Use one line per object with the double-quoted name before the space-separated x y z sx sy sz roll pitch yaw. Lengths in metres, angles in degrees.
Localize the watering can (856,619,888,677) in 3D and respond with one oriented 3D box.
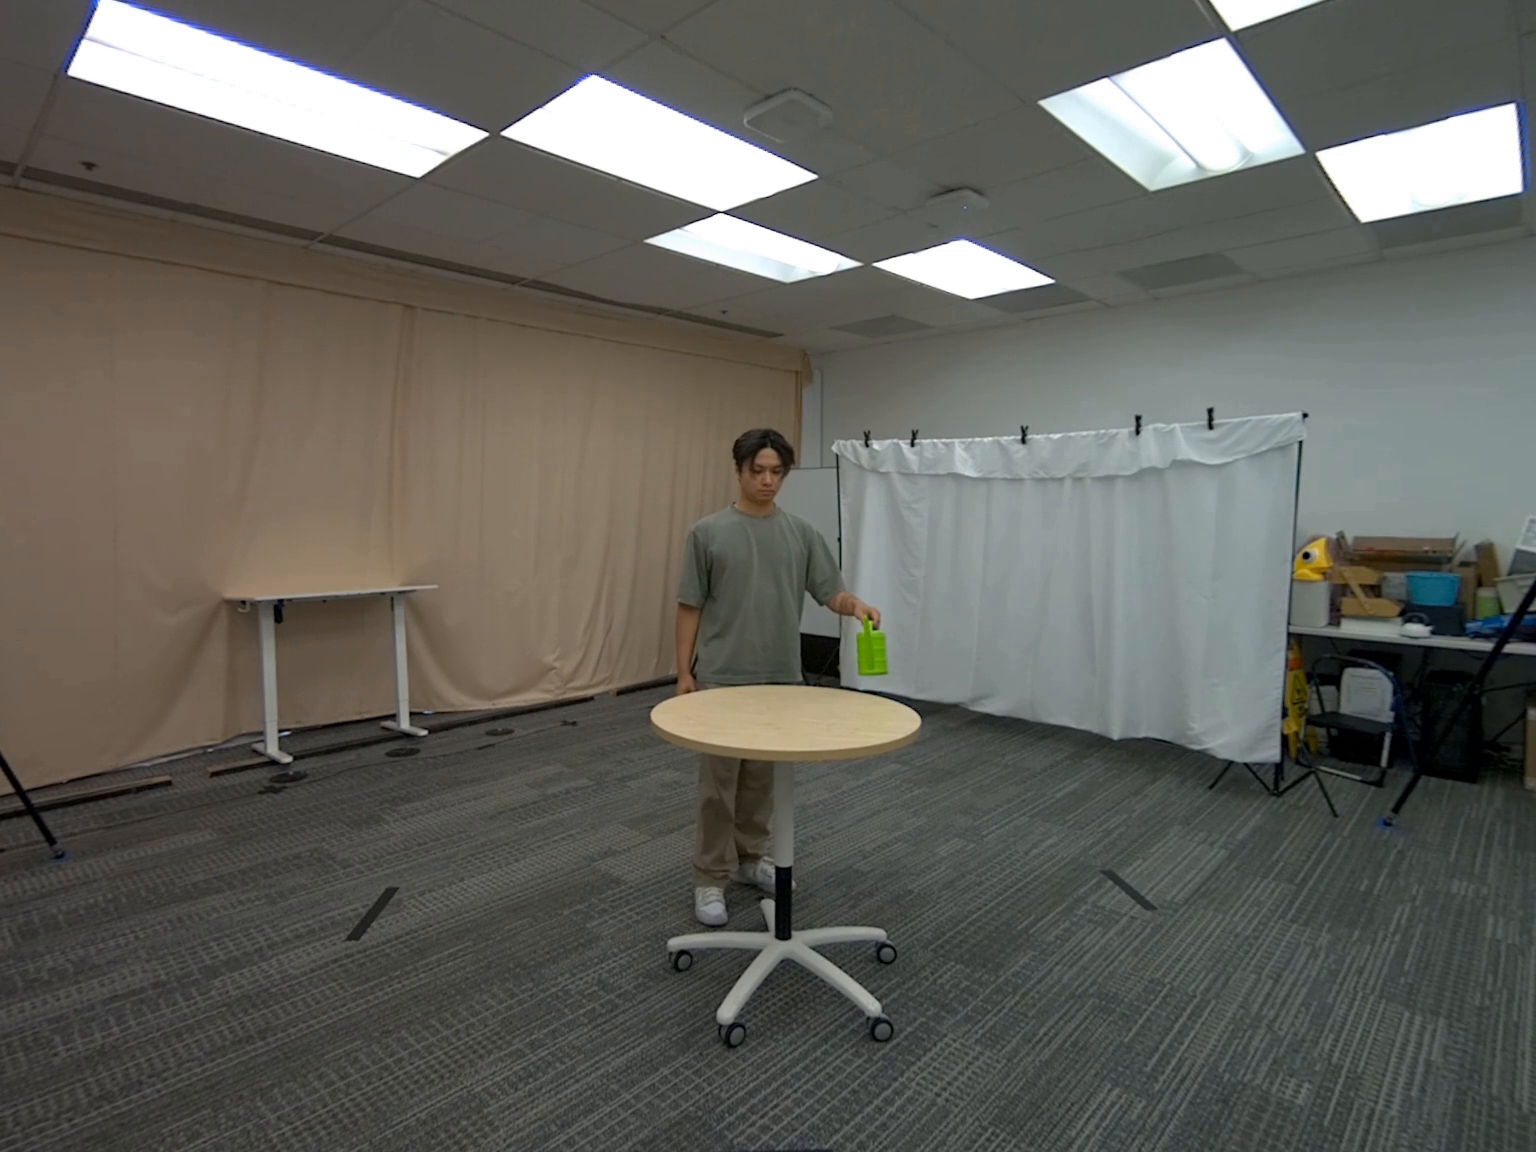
"watering can" 0.321 0.232 2.672 0.100 0.178 0.270 -6 -11 23
